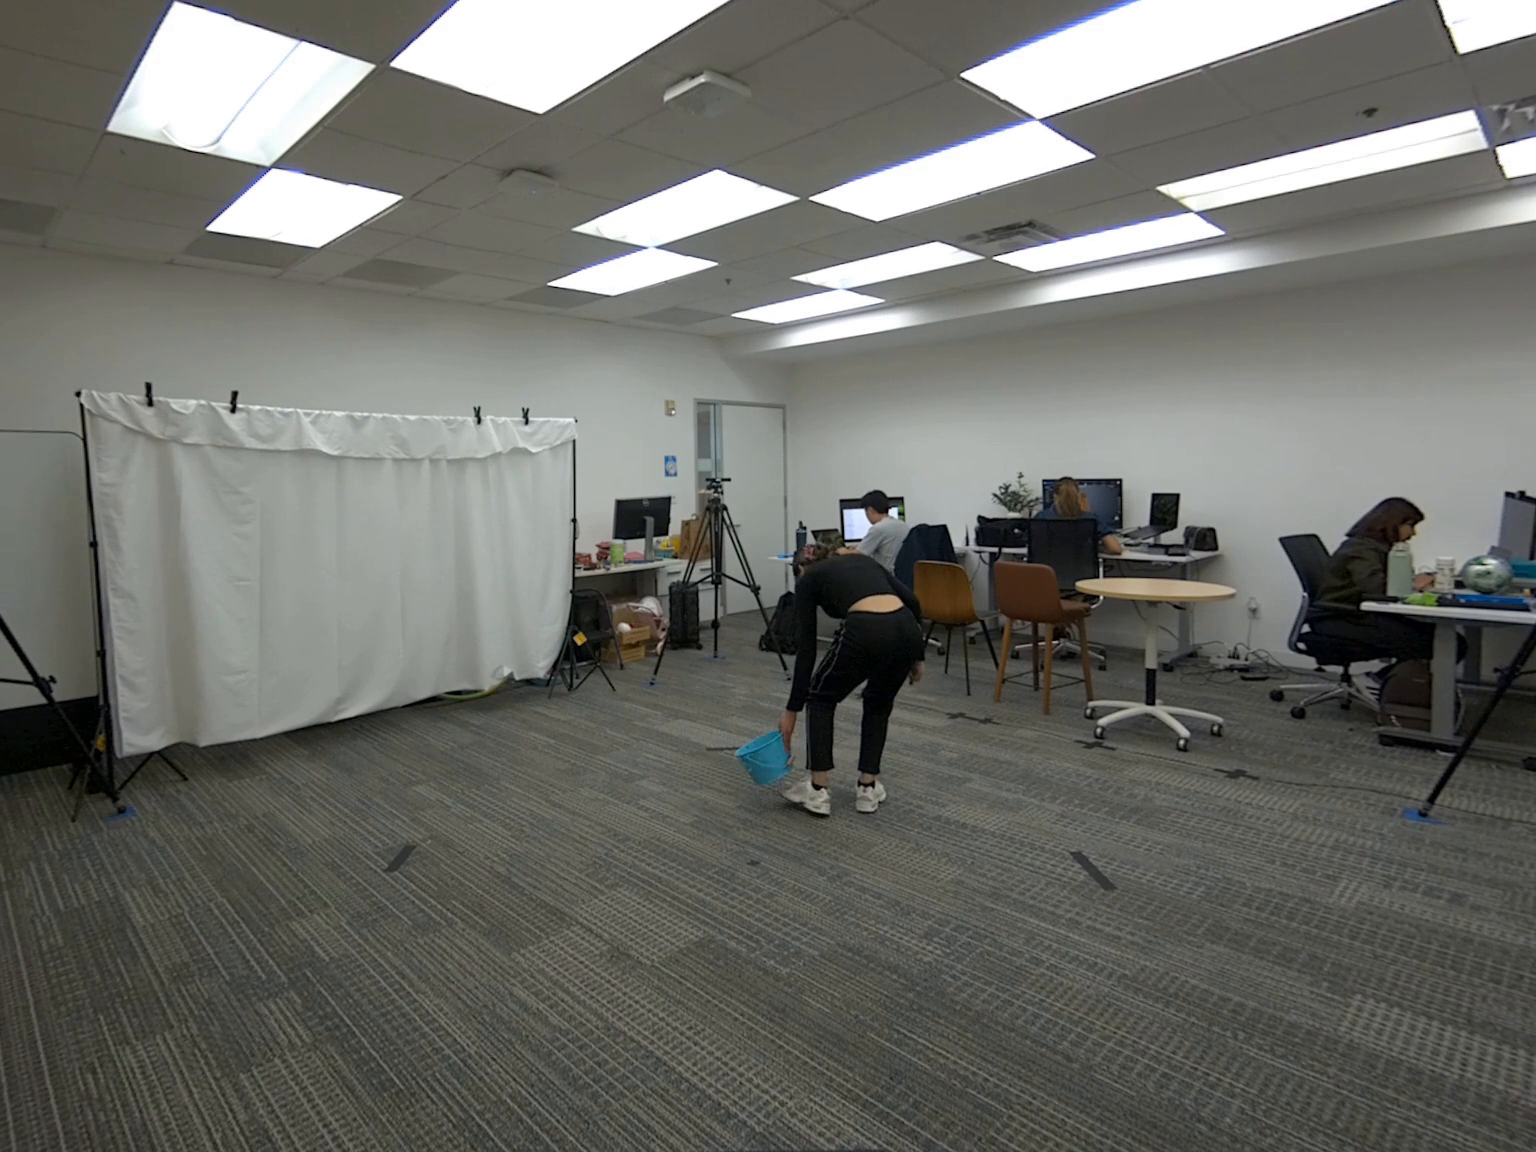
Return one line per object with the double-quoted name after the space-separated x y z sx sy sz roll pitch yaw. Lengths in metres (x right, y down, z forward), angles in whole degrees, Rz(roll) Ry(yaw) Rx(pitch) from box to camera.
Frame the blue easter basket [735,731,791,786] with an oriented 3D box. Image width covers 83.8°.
0.002 0.789 3.628 0.243 0.157 0.242 -26 -3 -4 "blue easter basket"
